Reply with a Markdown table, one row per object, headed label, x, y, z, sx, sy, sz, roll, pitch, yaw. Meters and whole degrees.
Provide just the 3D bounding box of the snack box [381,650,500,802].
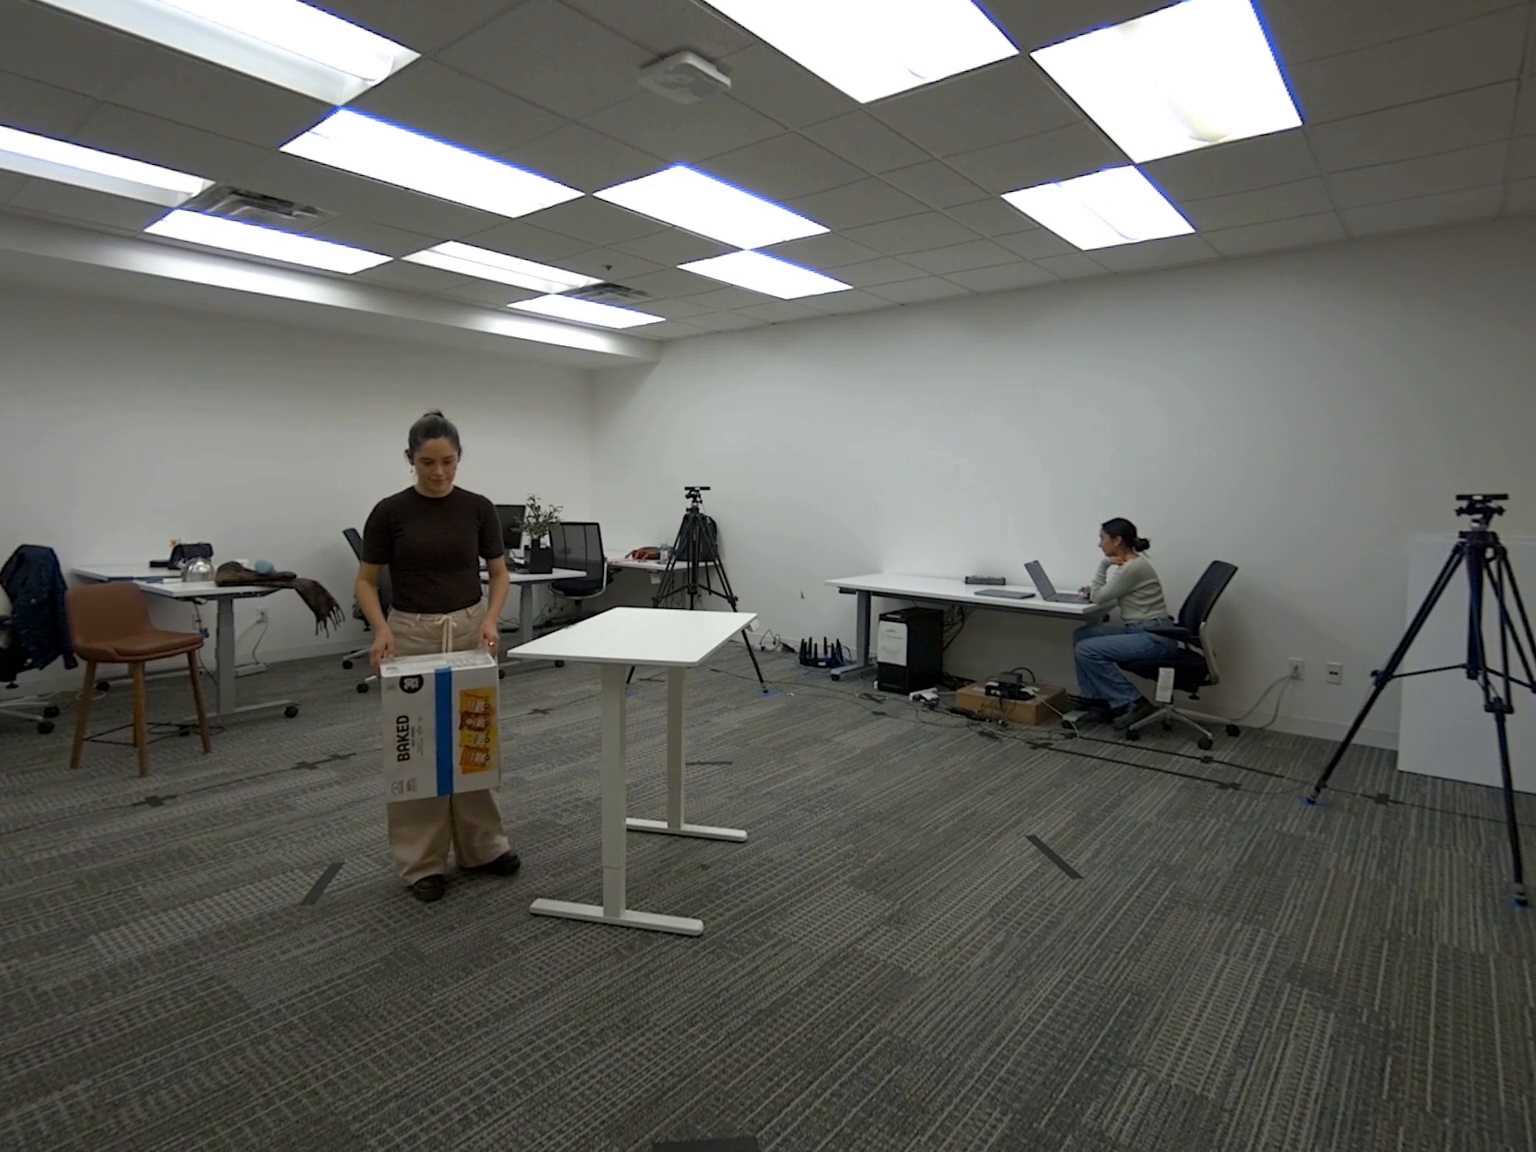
| label | x | y | z | sx | sy | sz | roll | pitch | yaw |
| --- | --- | --- | --- | --- | --- | --- | --- | --- | --- |
| snack box | -1.059 | 0.472 | 2.706 | 0.333 | 0.402 | 0.212 | -4 | 10 | -25 |
